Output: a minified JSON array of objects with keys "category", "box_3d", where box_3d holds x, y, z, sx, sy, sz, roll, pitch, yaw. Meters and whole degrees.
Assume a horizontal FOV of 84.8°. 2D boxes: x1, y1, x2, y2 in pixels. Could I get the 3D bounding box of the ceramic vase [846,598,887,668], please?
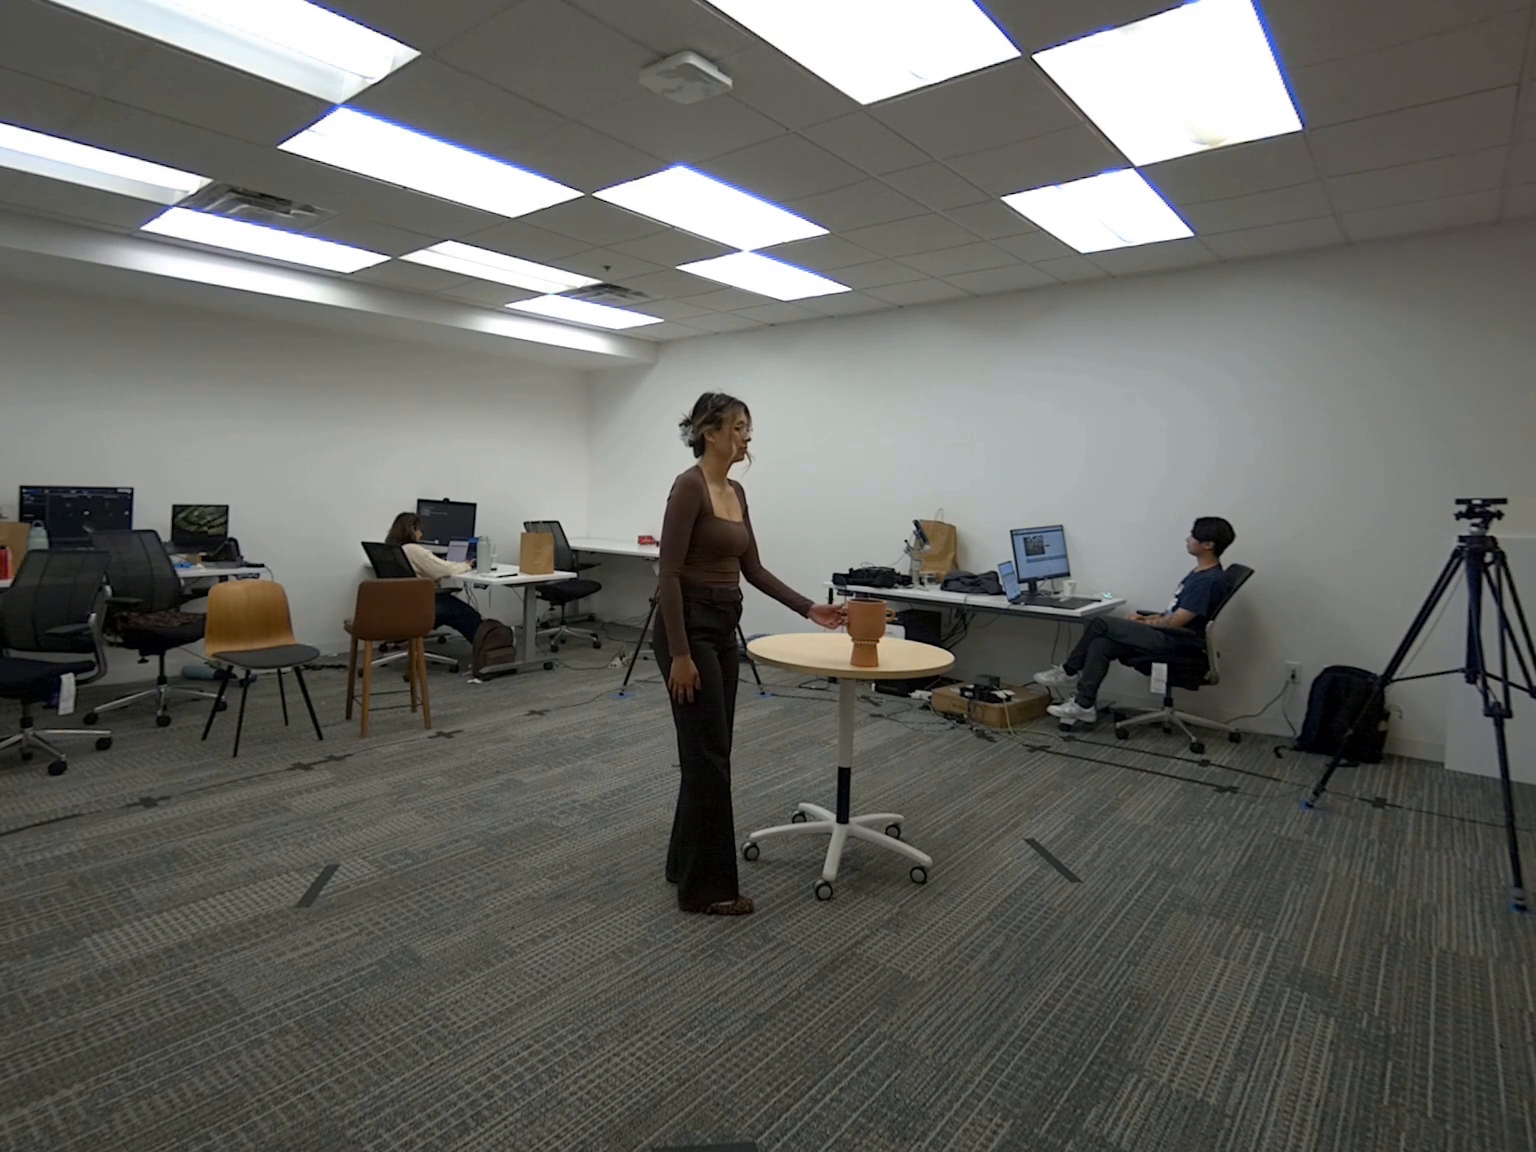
[{"category":"ceramic vase","box_3d":[0.328,0.192,2.912,0.164,0.219,0.131,4,4,34]}]
